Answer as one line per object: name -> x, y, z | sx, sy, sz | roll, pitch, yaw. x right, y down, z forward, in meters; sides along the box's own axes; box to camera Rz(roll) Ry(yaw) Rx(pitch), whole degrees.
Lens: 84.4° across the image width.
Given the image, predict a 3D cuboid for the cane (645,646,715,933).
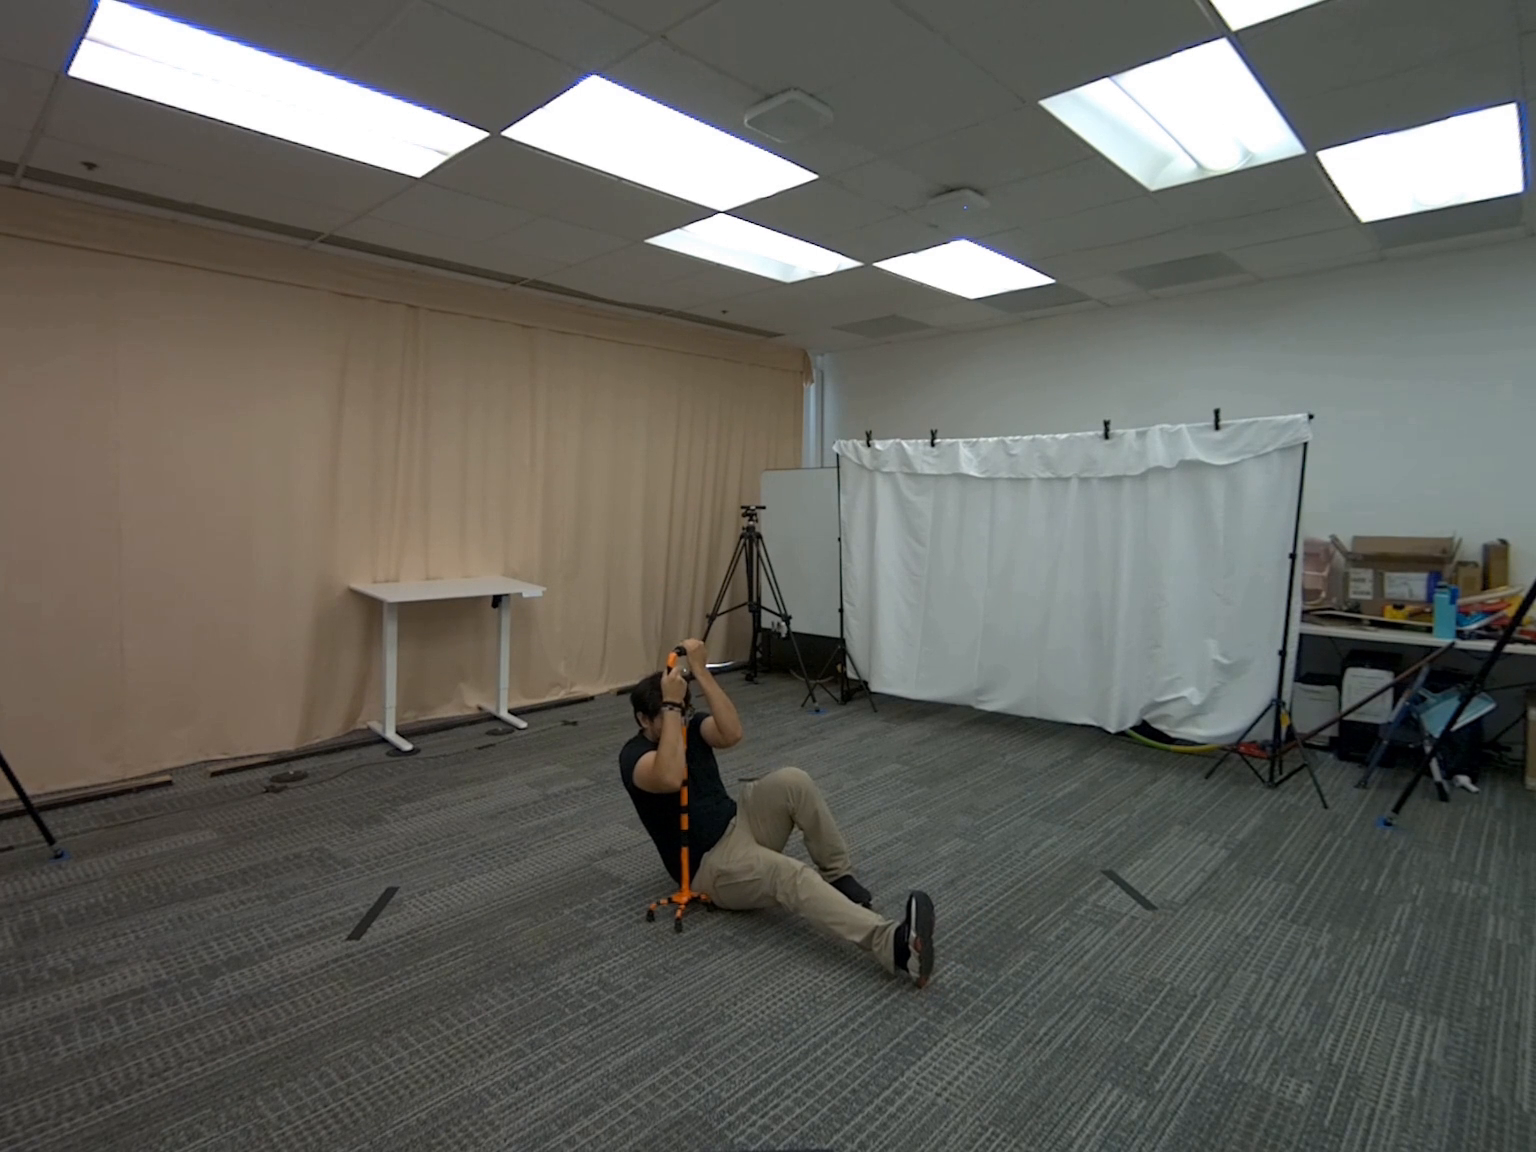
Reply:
cane -> -0.306, 0.693, 2.869 | 0.156, 0.908, 0.200 | -1, 0, 33
